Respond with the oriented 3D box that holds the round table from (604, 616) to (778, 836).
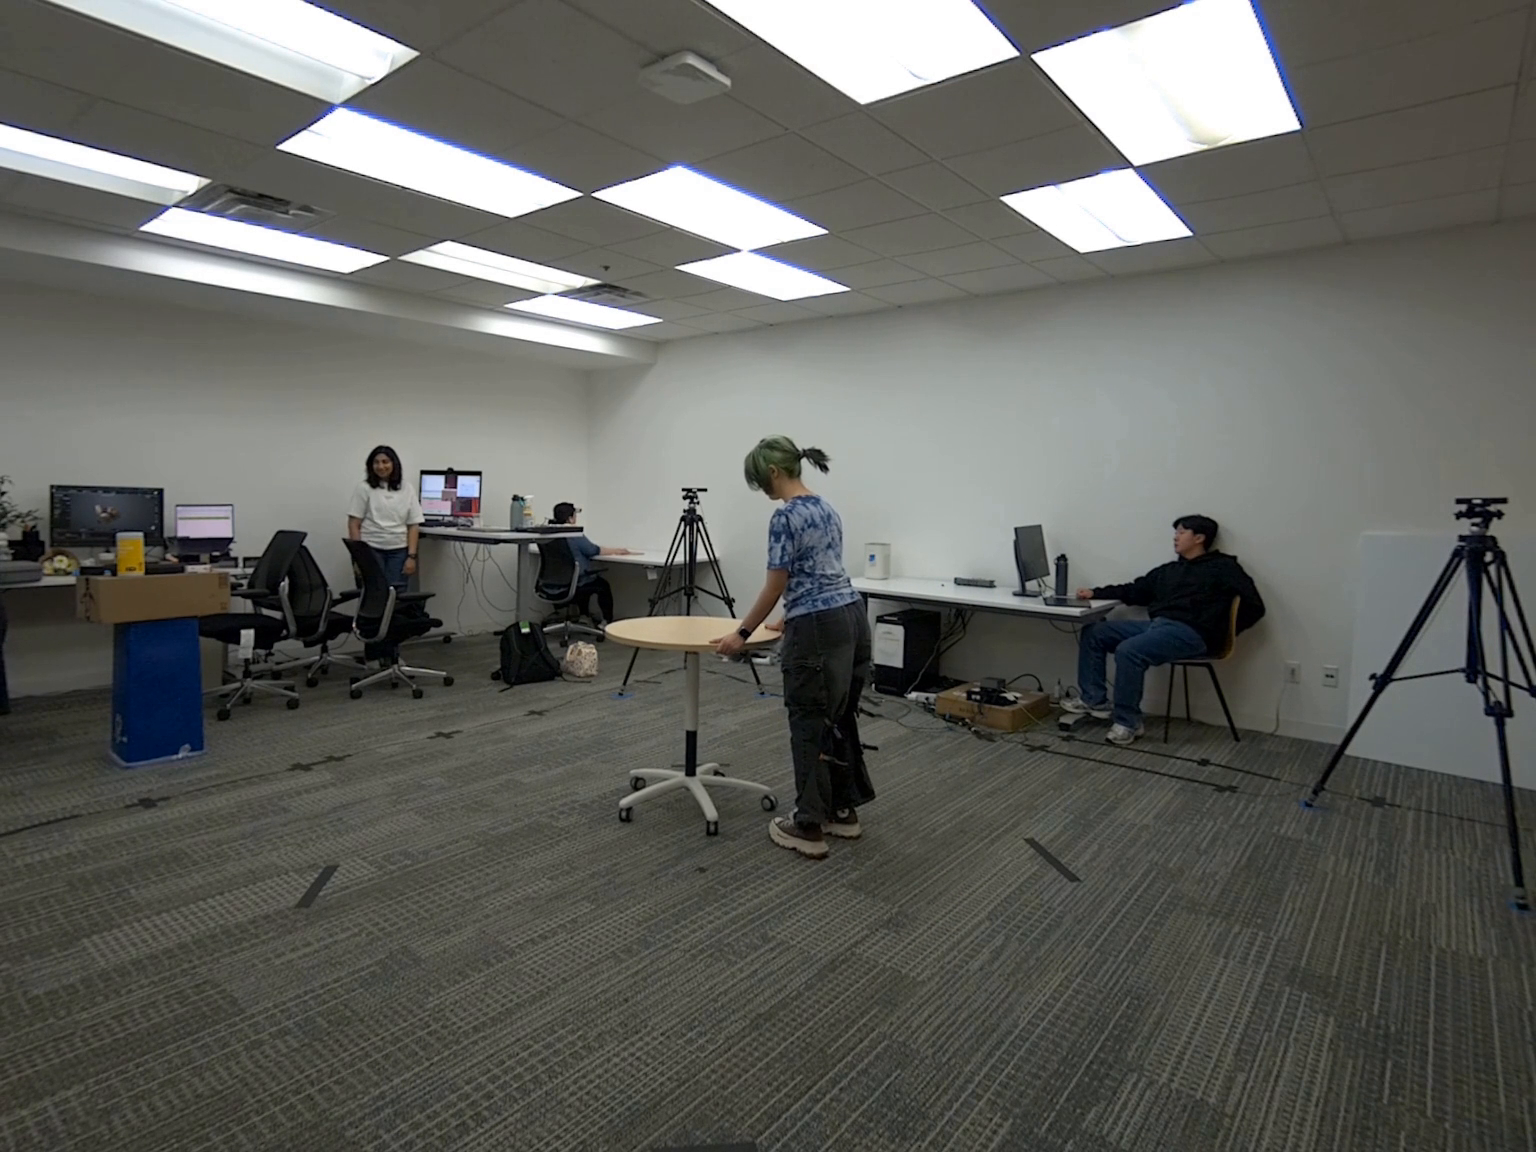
[{"bbox_3d":[-0.343,0.621,3.715,0.763,0.792,0.767,1,4,-2],"label":"round table"}]
